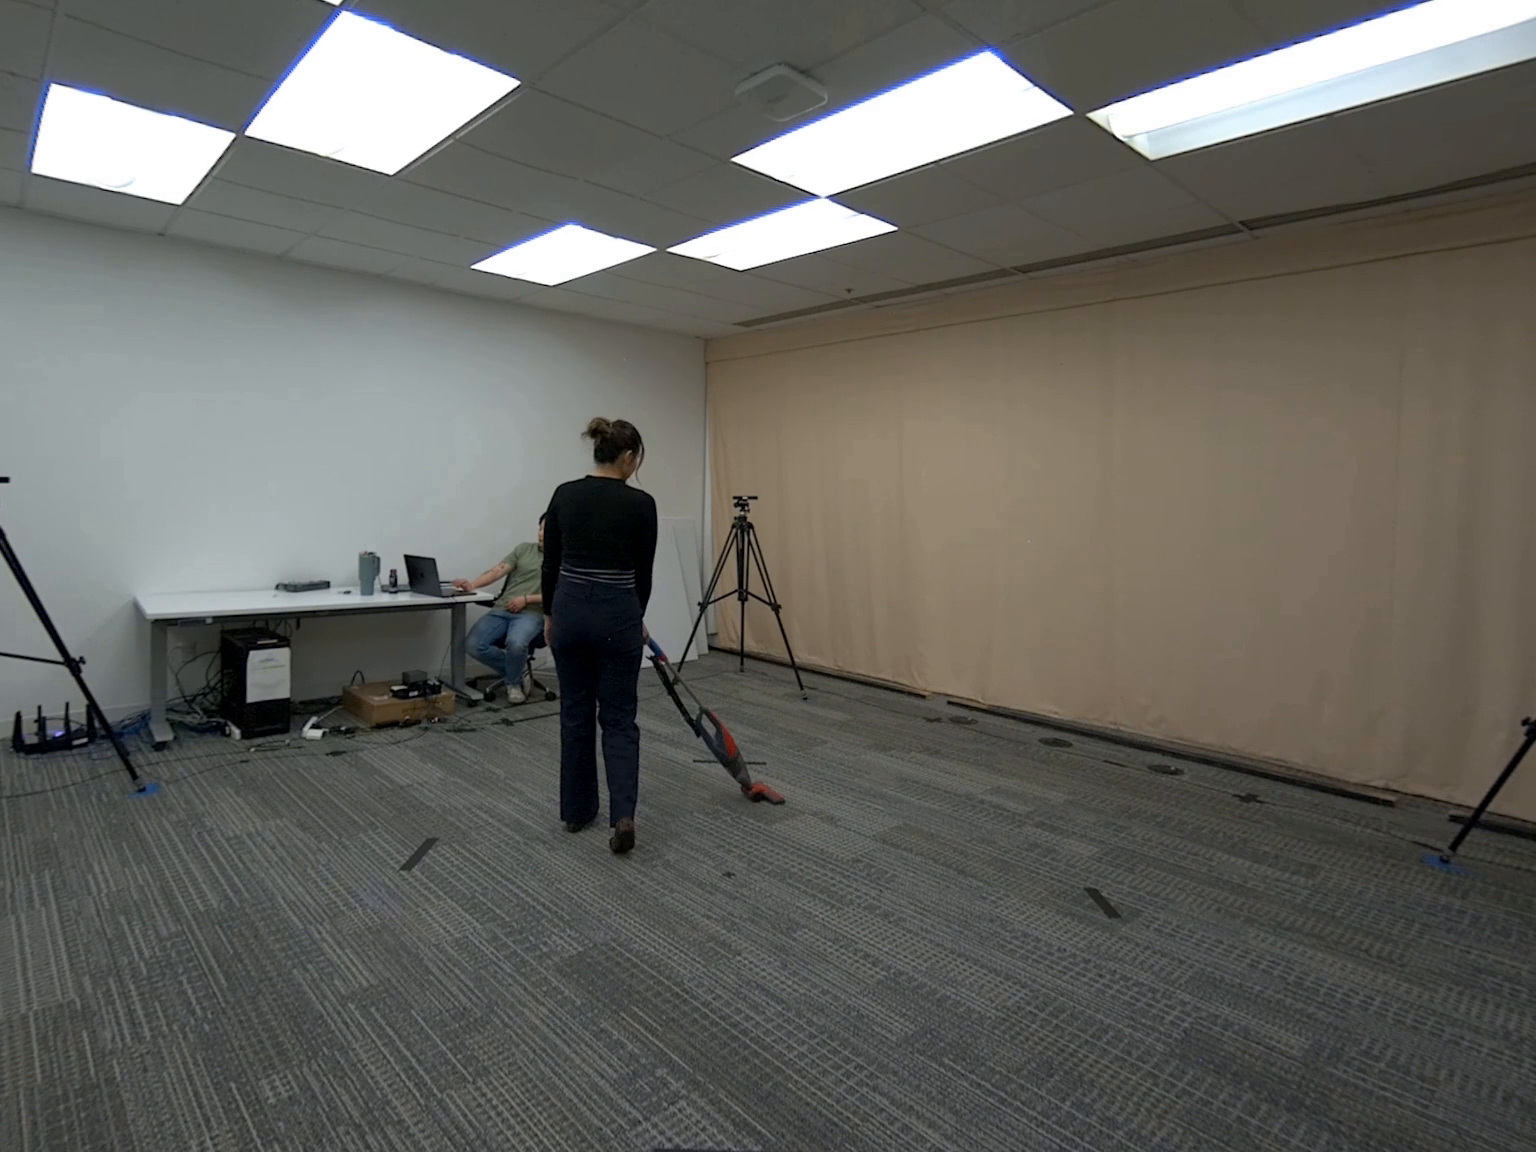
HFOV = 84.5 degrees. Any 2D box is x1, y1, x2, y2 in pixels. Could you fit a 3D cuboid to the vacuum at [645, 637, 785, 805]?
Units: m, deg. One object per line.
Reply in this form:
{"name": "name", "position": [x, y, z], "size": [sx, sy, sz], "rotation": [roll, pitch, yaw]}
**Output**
{"name": "vacuum", "position": [-0.319, 0.636, 3.780], "size": [0.144, 1.029, 0.257], "rotation": [-47, 22, -28]}
